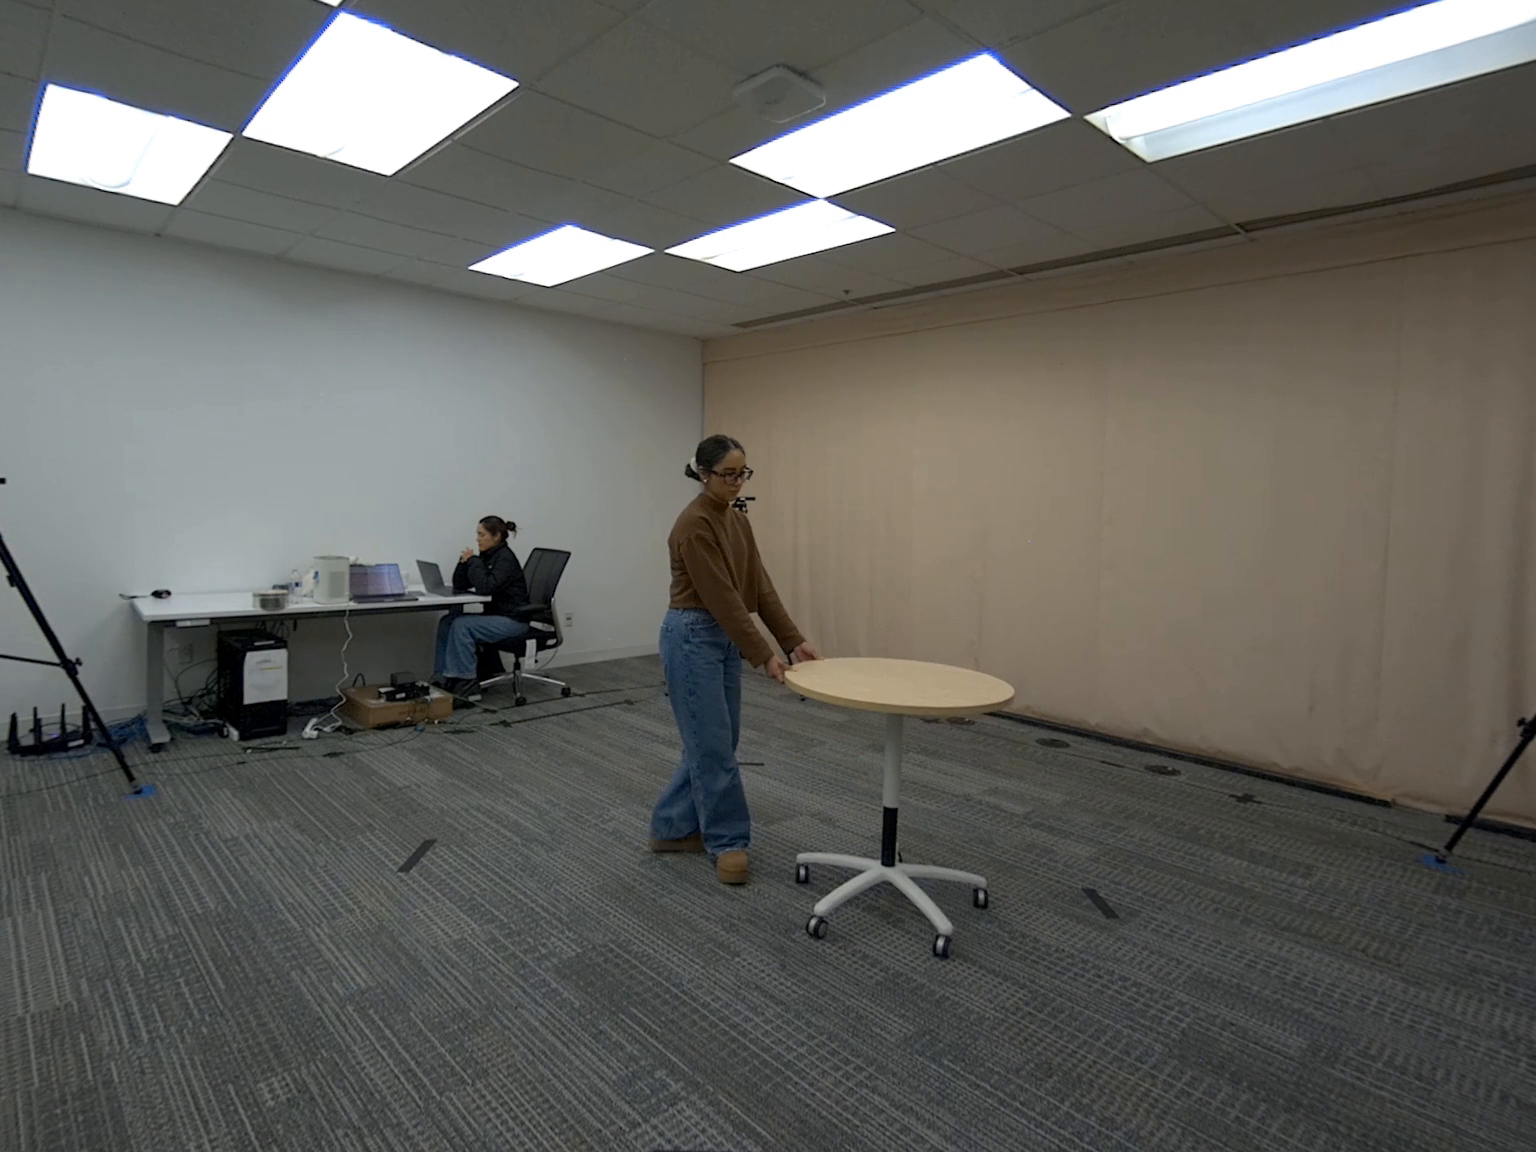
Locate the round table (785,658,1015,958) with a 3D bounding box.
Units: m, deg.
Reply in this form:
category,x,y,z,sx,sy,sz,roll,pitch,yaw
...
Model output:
category,x,y,z,sx,sy,sz,roll,pitch,yaw
round table,0.390,0.743,2.886,0.784,0.785,0.787,2,4,-2
